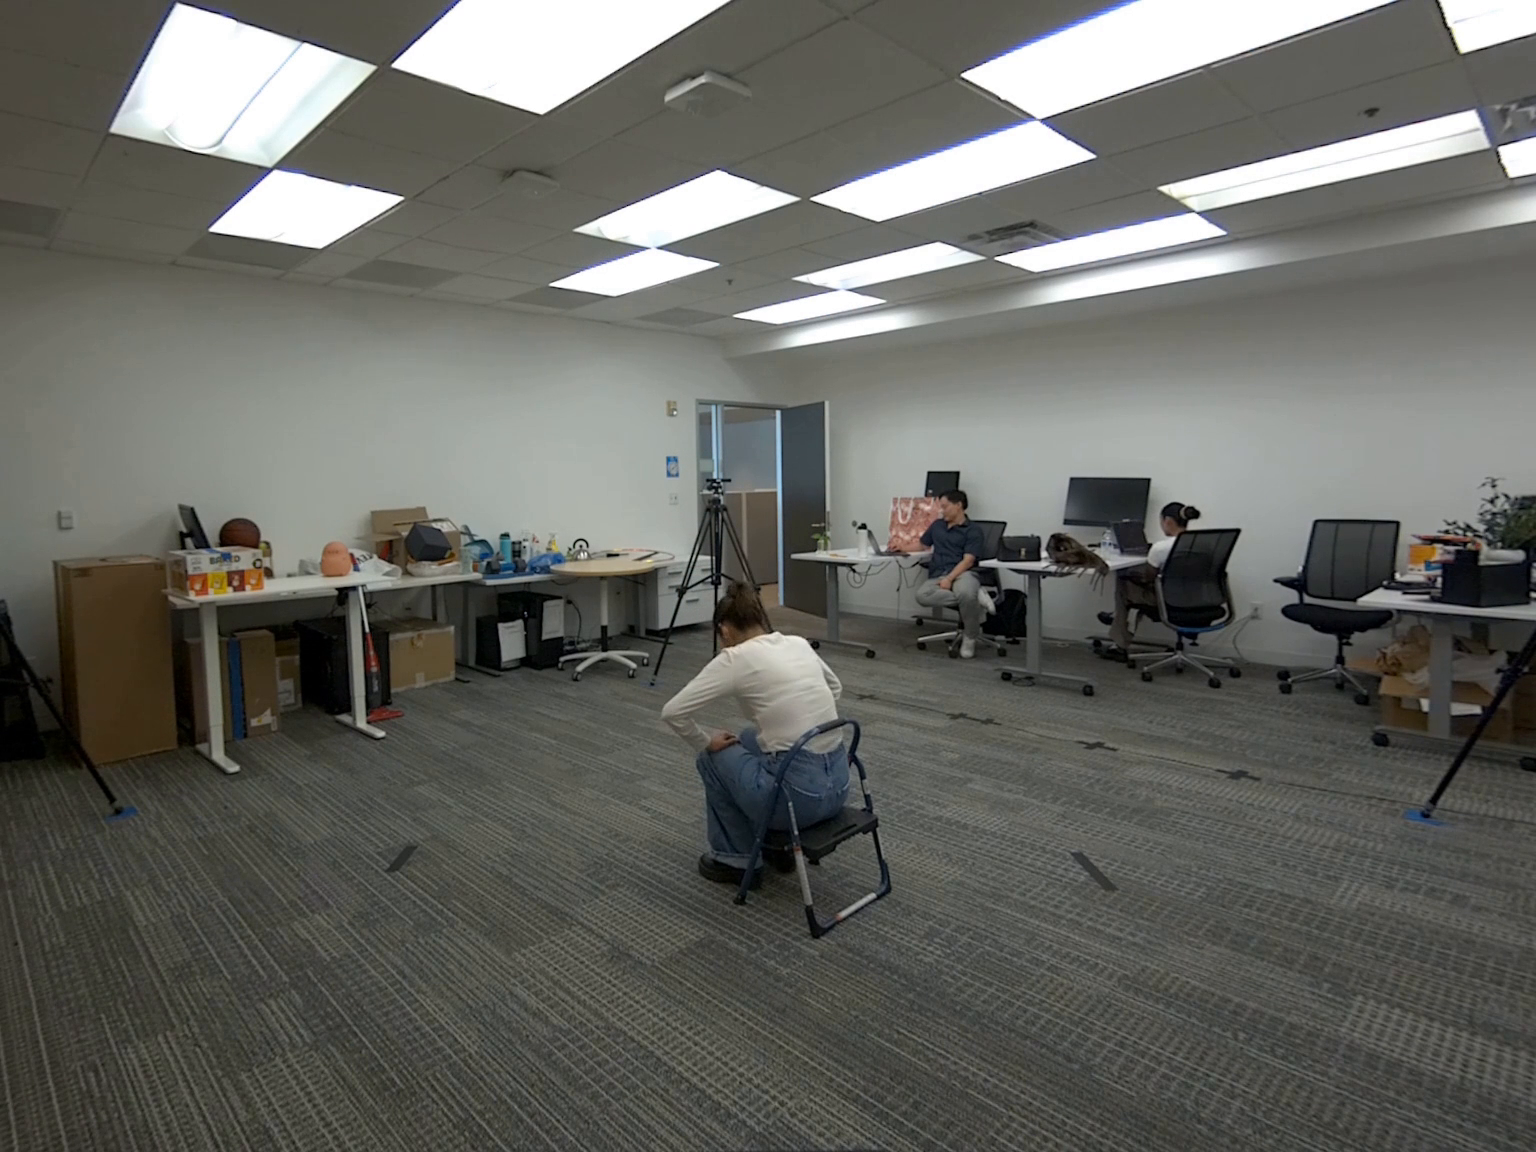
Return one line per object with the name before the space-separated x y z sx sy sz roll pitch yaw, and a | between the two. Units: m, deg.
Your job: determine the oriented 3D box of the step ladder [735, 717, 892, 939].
step ladder | 0.153 0.771 2.830 0.360 0.604 0.419 2 6 42
